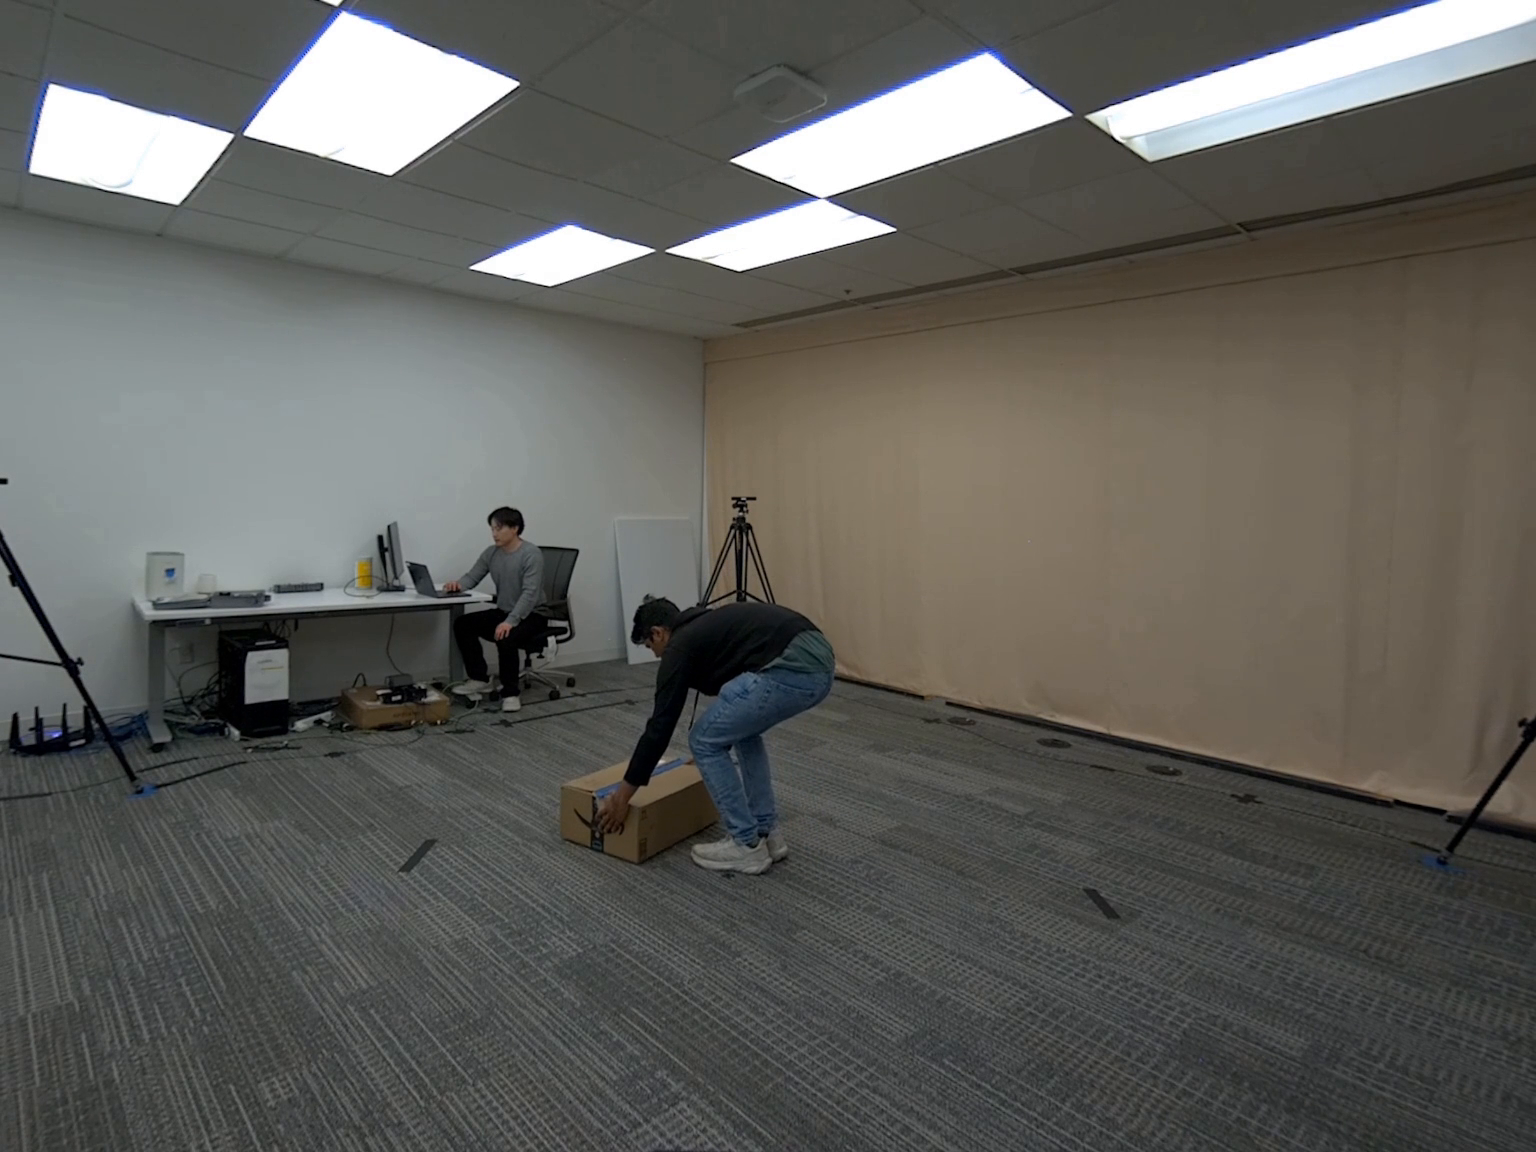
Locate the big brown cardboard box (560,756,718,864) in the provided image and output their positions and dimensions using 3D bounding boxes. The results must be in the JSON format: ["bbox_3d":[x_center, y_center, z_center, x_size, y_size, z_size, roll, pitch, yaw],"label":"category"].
[{"bbox_3d":[-0.516,0.937,3.511,0.427,0.232,0.577,4,6,32],"label":"big brown cardboard box"}]
